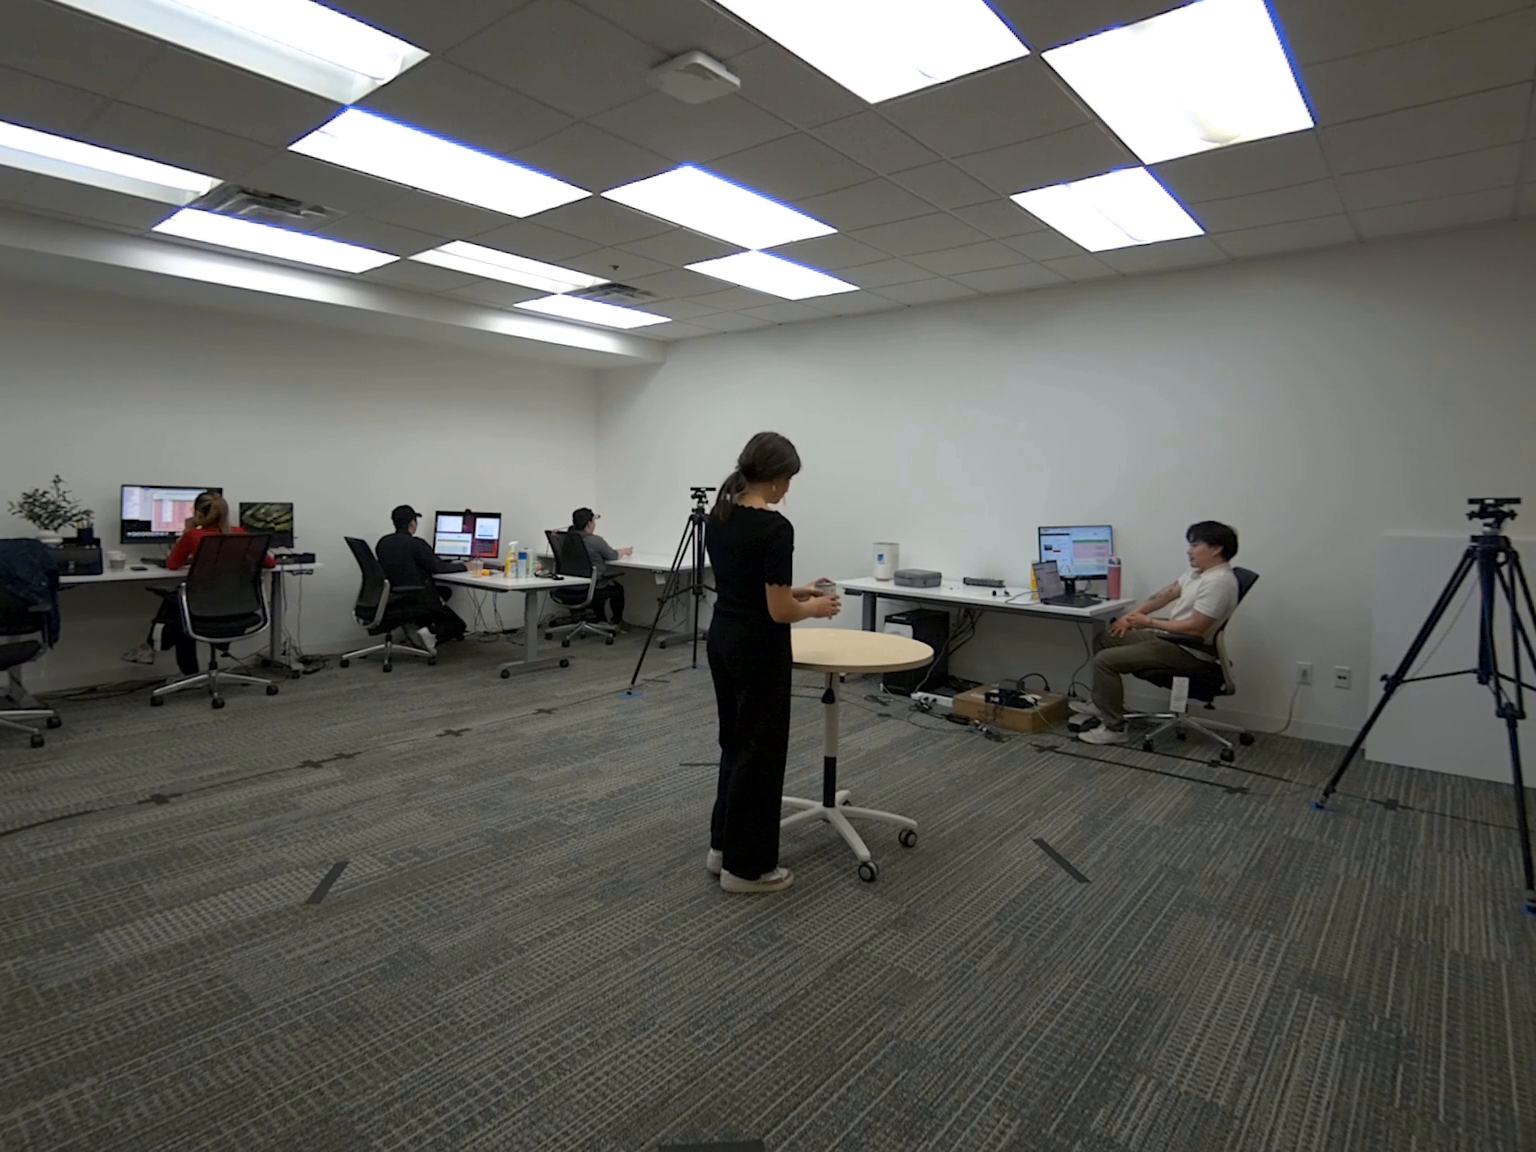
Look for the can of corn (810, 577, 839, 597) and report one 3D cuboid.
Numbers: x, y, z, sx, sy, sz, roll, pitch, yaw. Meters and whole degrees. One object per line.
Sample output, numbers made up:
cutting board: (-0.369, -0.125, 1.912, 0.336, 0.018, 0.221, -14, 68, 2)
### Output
can of corn: (0.199, 0.080, 3.035, 0.074, 0.111, 0.074, -1, 3, -2)
